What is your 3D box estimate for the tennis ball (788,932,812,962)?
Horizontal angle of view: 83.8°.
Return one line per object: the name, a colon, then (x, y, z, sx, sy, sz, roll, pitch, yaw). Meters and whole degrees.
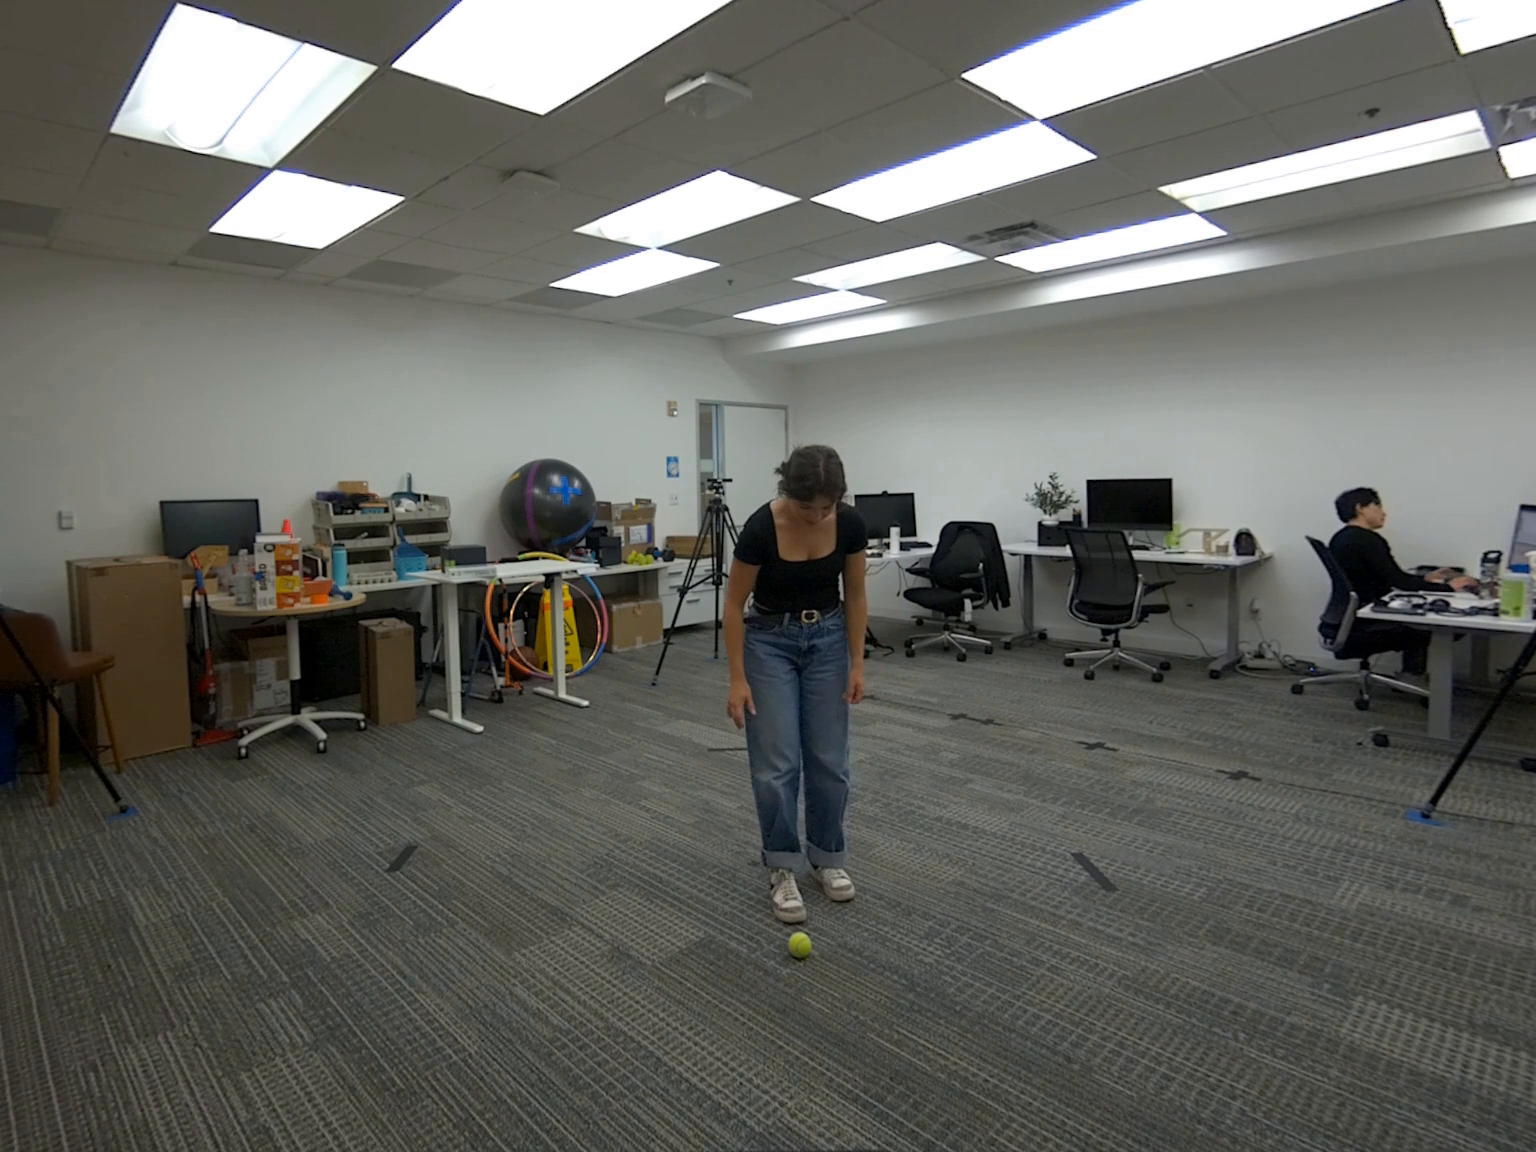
tennis ball: (0.095, 1.081, 2.499, 0.066, 0.066, 0.067, -1, 5, -2)
